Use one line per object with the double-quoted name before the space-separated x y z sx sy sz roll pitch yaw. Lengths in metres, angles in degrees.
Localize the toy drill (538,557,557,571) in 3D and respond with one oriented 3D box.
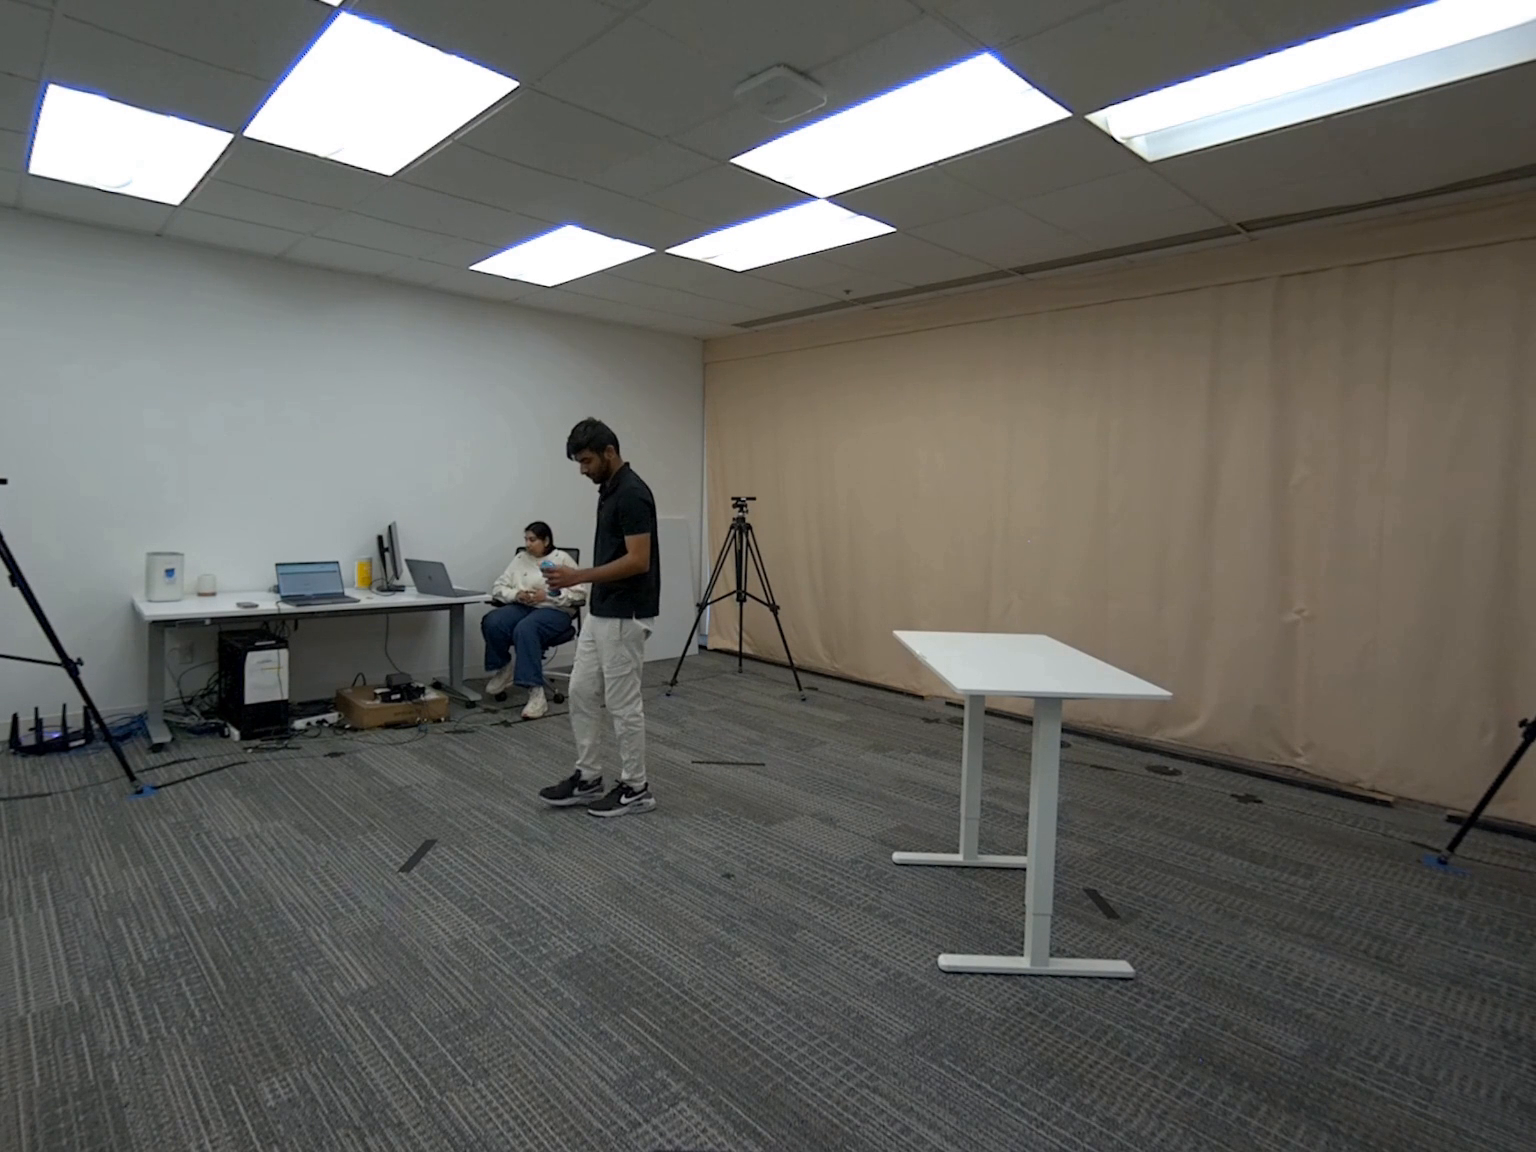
"toy drill" -0.918 0.004 3.510 0.060 0.144 0.174 -14 19 -40
